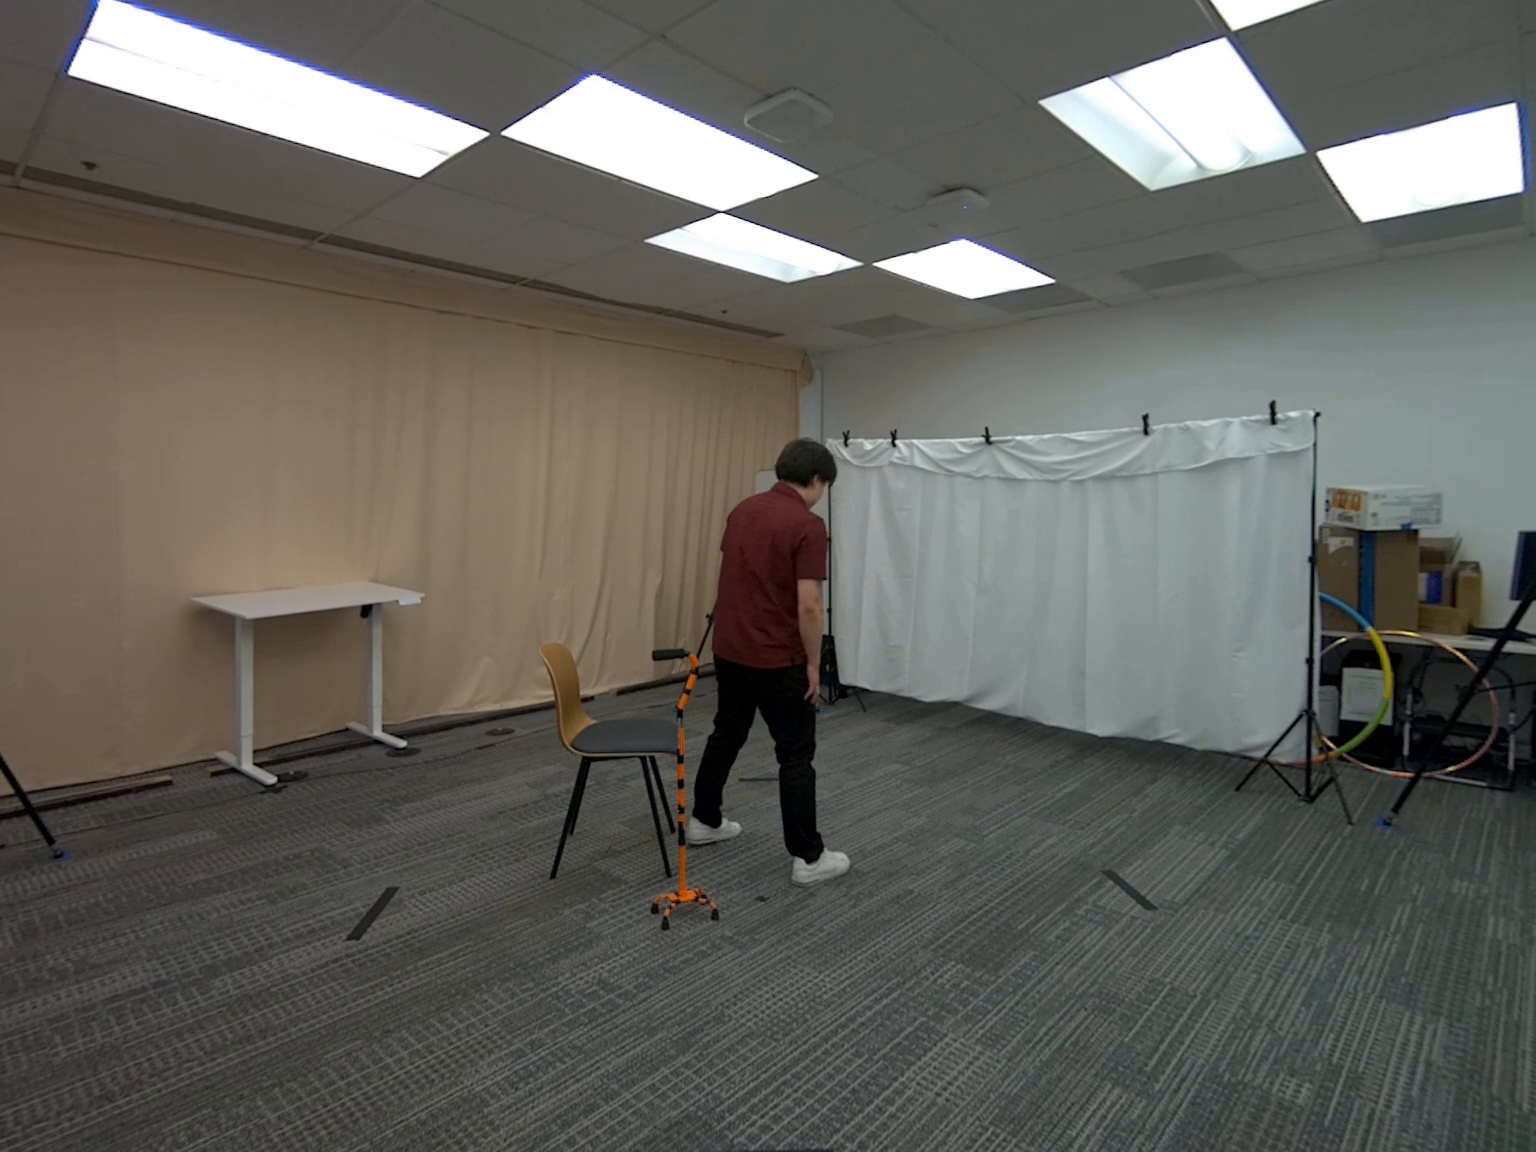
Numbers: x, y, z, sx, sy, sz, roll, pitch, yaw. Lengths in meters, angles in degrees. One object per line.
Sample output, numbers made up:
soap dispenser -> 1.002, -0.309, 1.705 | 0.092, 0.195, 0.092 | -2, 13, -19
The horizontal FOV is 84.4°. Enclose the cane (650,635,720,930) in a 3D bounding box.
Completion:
cane -> -0.284, 0.698, 2.846 | 0.202, 0.906, 0.155 | -2, 3, -24
